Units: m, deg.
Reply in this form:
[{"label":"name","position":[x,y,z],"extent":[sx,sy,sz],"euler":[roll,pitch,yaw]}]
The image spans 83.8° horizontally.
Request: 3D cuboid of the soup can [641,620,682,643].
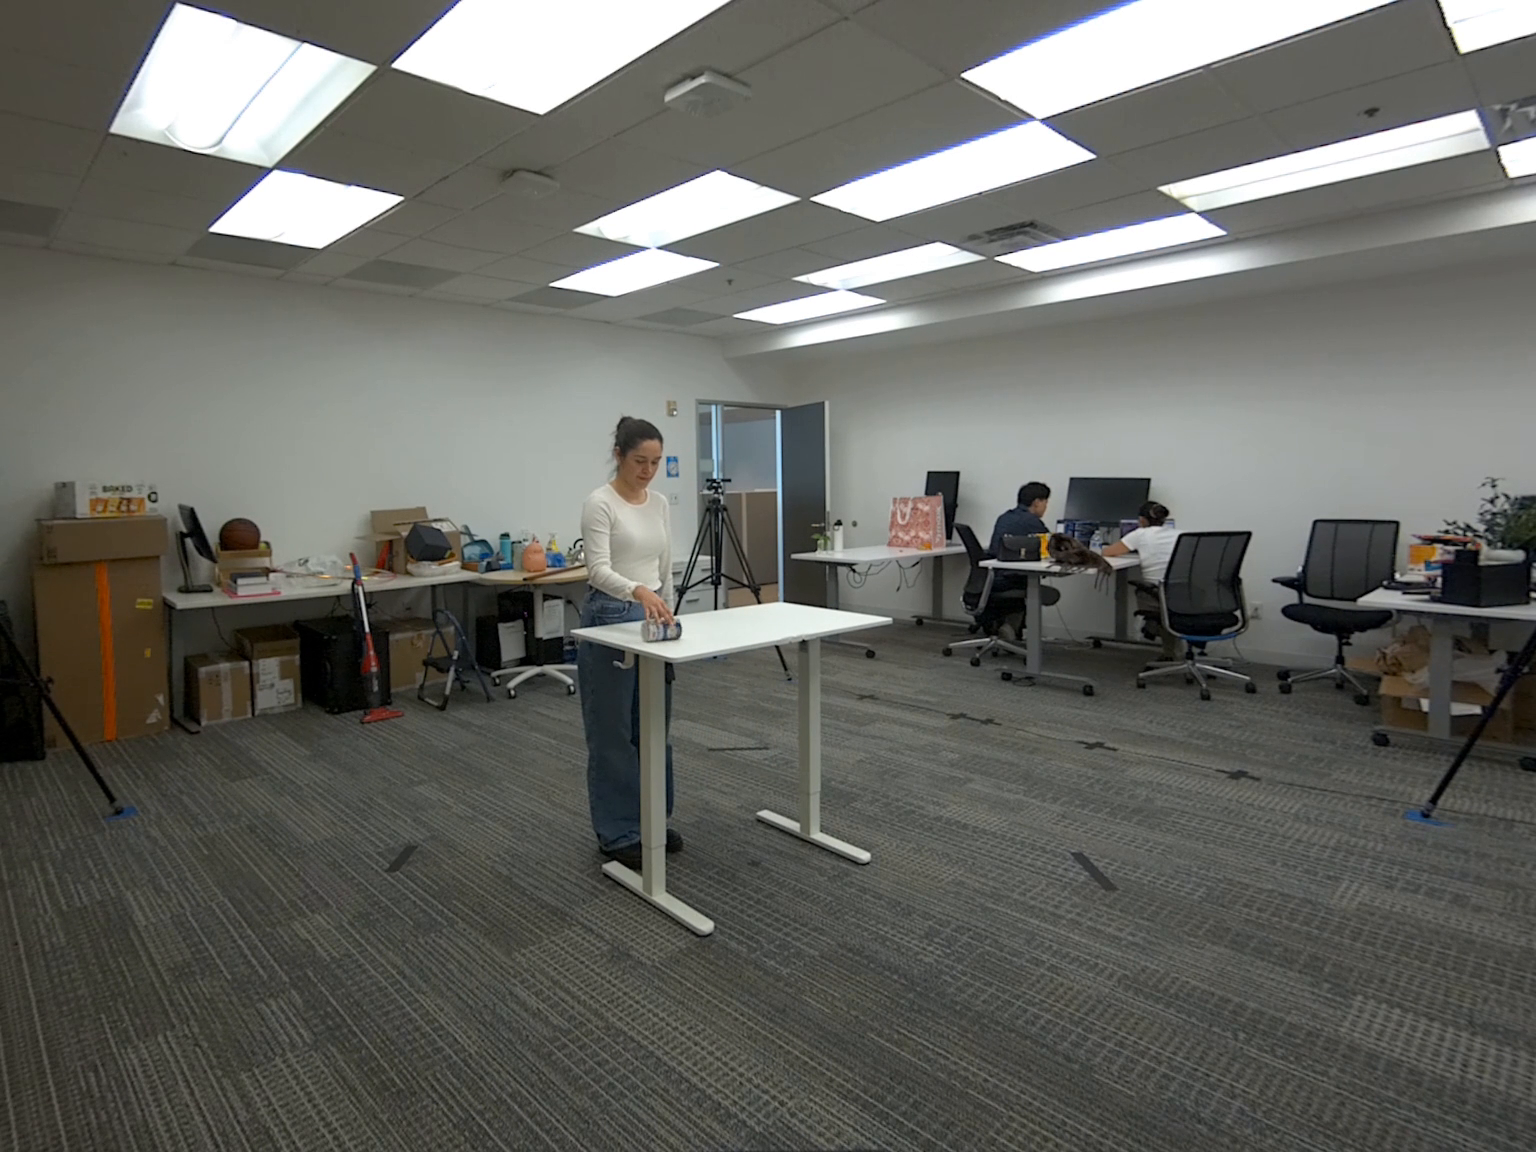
[{"label":"soup can","position":[-0.327,0.172,2.743],"extent":[0.069,0.067,0.119],"euler":[2,5,28]}]
